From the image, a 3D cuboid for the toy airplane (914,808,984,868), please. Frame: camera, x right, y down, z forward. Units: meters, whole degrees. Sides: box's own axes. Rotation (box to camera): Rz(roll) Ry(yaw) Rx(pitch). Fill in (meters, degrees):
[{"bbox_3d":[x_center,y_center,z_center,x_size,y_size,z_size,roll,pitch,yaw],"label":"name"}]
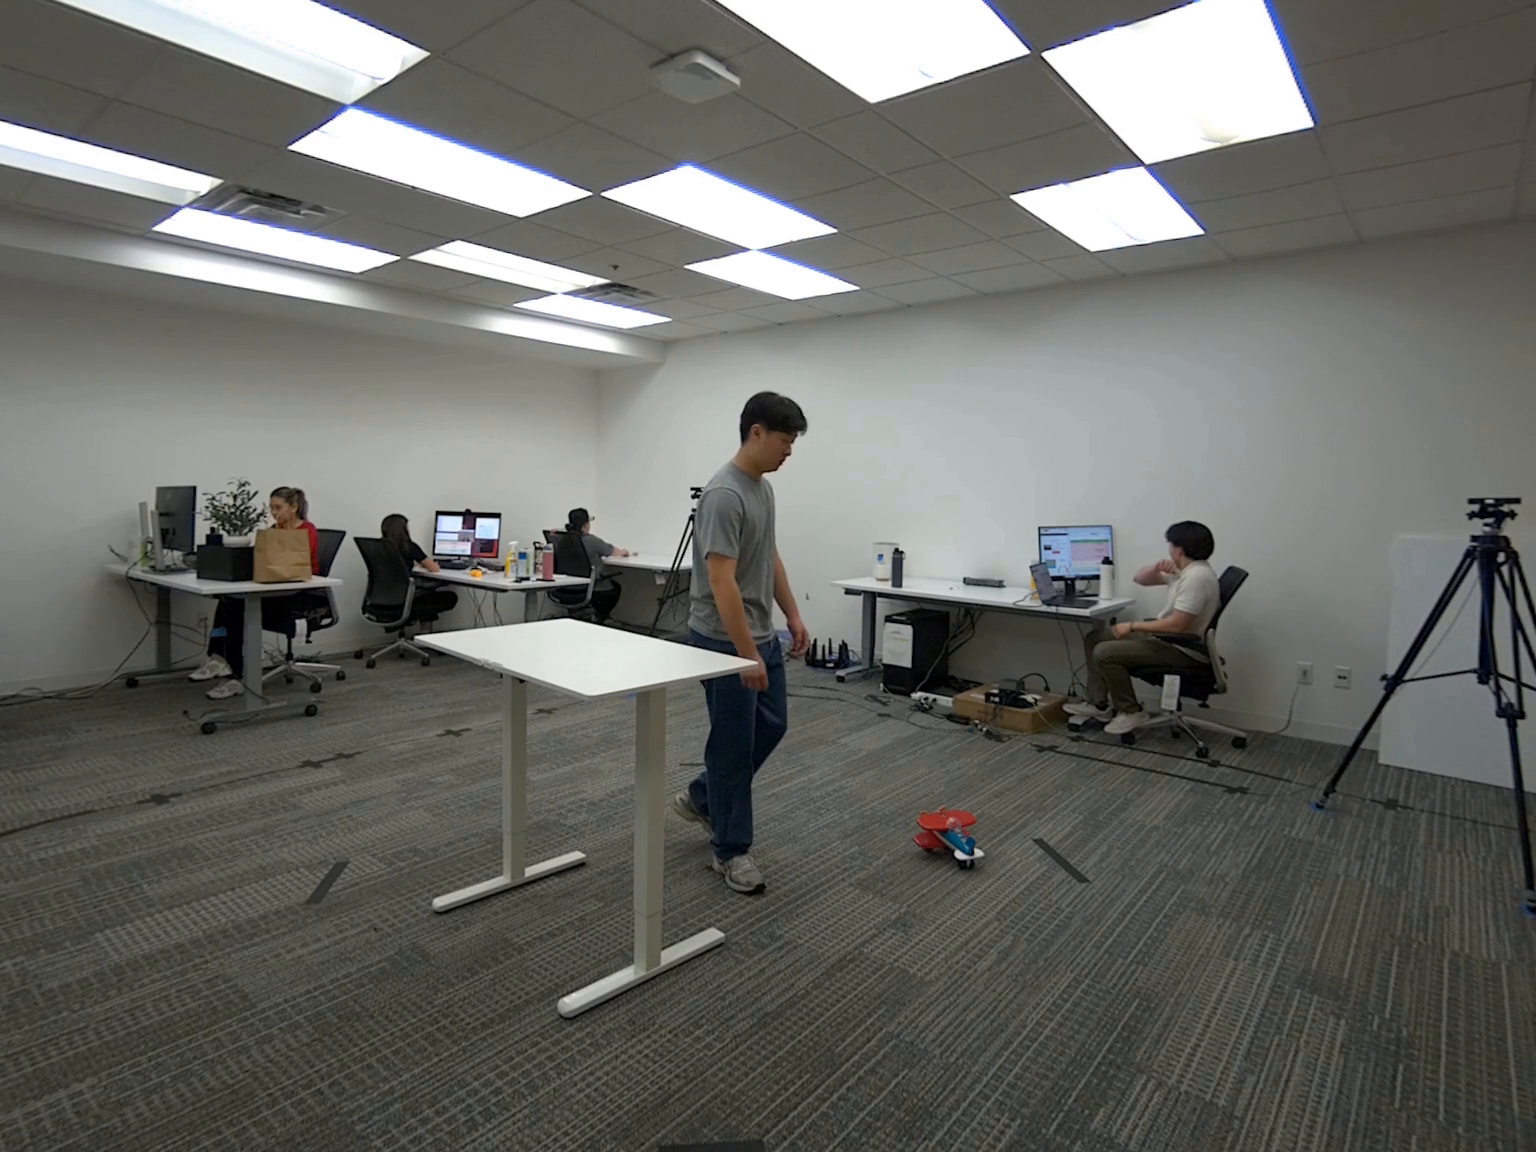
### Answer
[{"bbox_3d":[0.717,1.002,3.254,0.268,0.156,0.244,4,5,37],"label":"toy airplane"}]
